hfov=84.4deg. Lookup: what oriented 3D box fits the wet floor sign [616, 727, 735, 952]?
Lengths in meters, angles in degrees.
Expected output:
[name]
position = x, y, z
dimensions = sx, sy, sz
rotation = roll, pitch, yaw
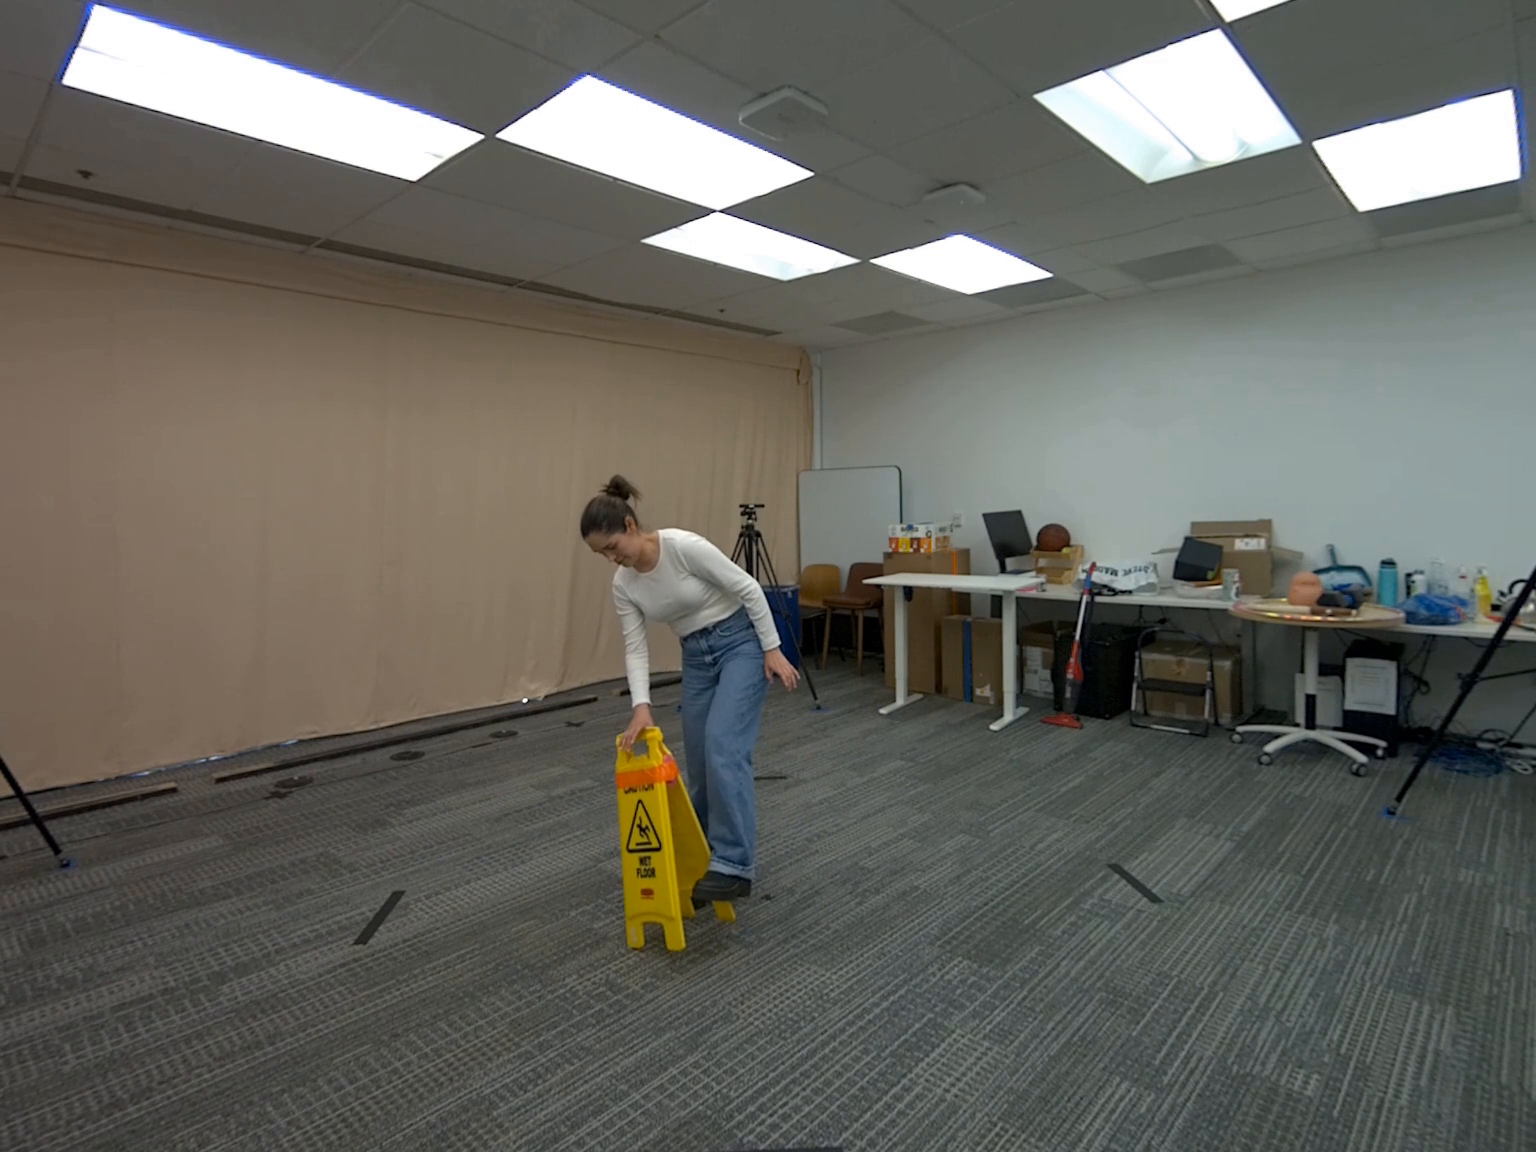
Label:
[wet floor sign]
position = -0.346, 0.825, 2.726
dimensions = 0.288, 0.651, 0.281
rotation = -22, -10, 38
